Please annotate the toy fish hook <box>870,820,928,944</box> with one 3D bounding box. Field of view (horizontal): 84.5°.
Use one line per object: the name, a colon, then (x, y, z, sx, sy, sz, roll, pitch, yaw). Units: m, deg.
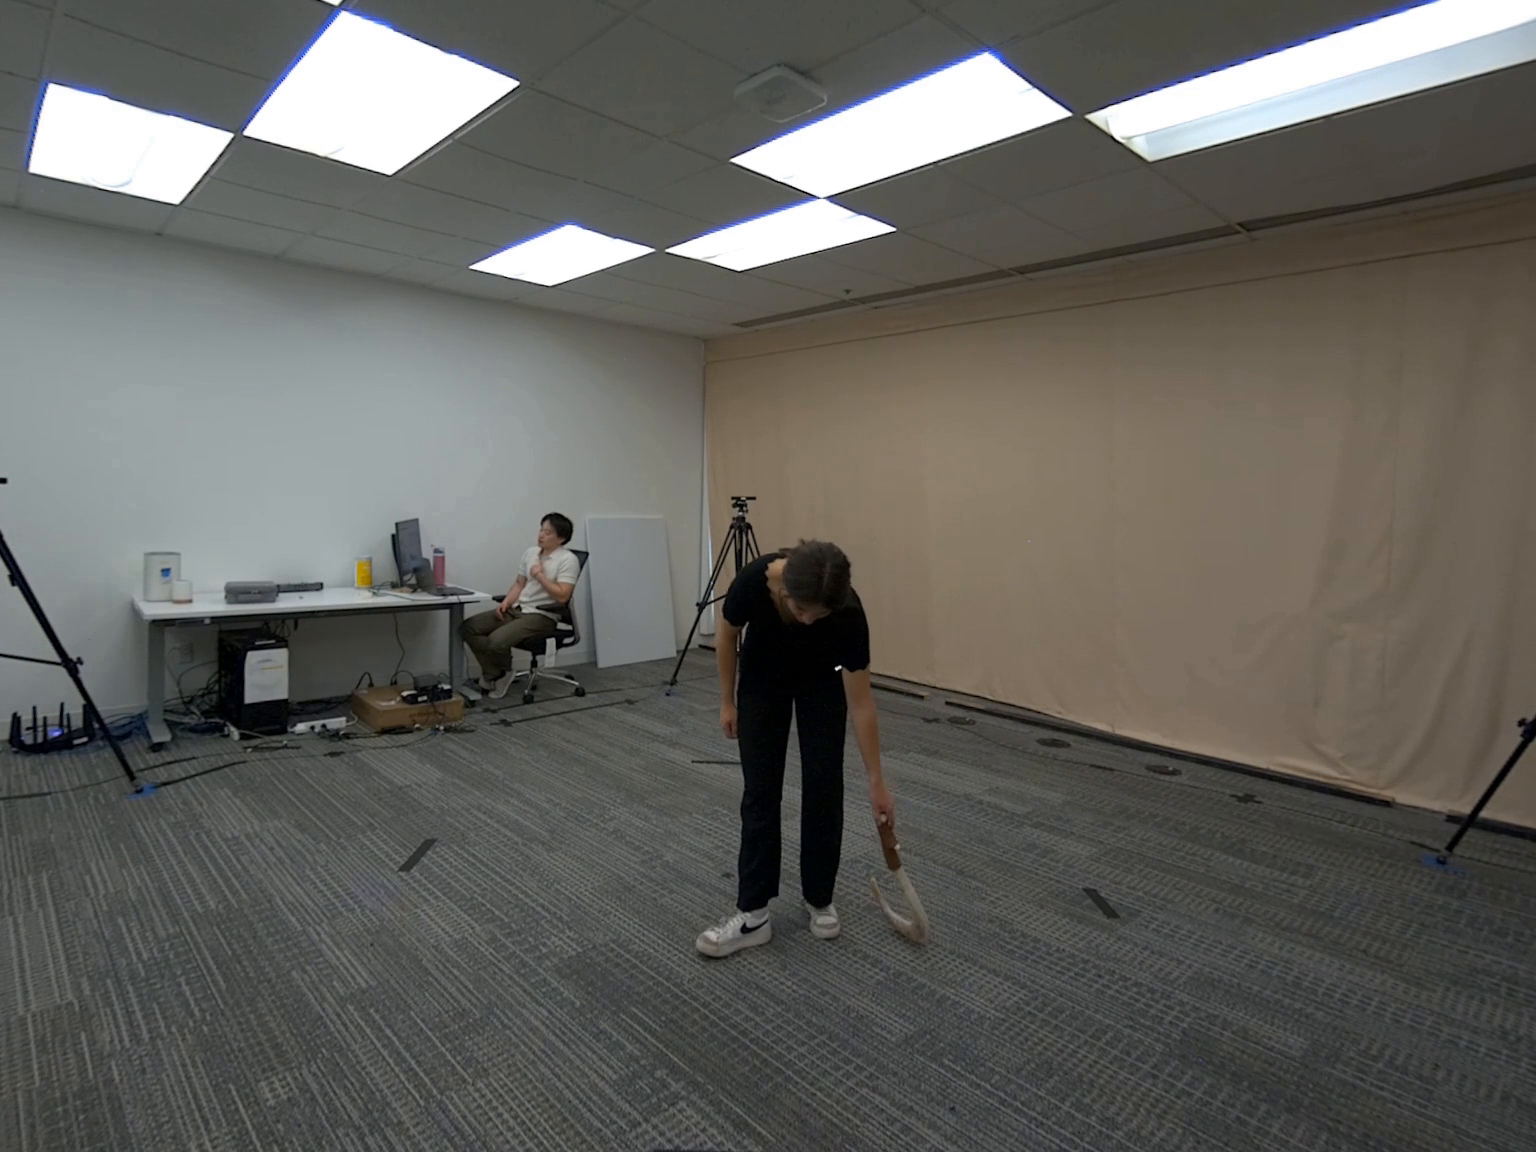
toy fish hook: (0.360, 0.933, 2.623, 0.048, 0.499, 0.230, -29, 21, -36)
